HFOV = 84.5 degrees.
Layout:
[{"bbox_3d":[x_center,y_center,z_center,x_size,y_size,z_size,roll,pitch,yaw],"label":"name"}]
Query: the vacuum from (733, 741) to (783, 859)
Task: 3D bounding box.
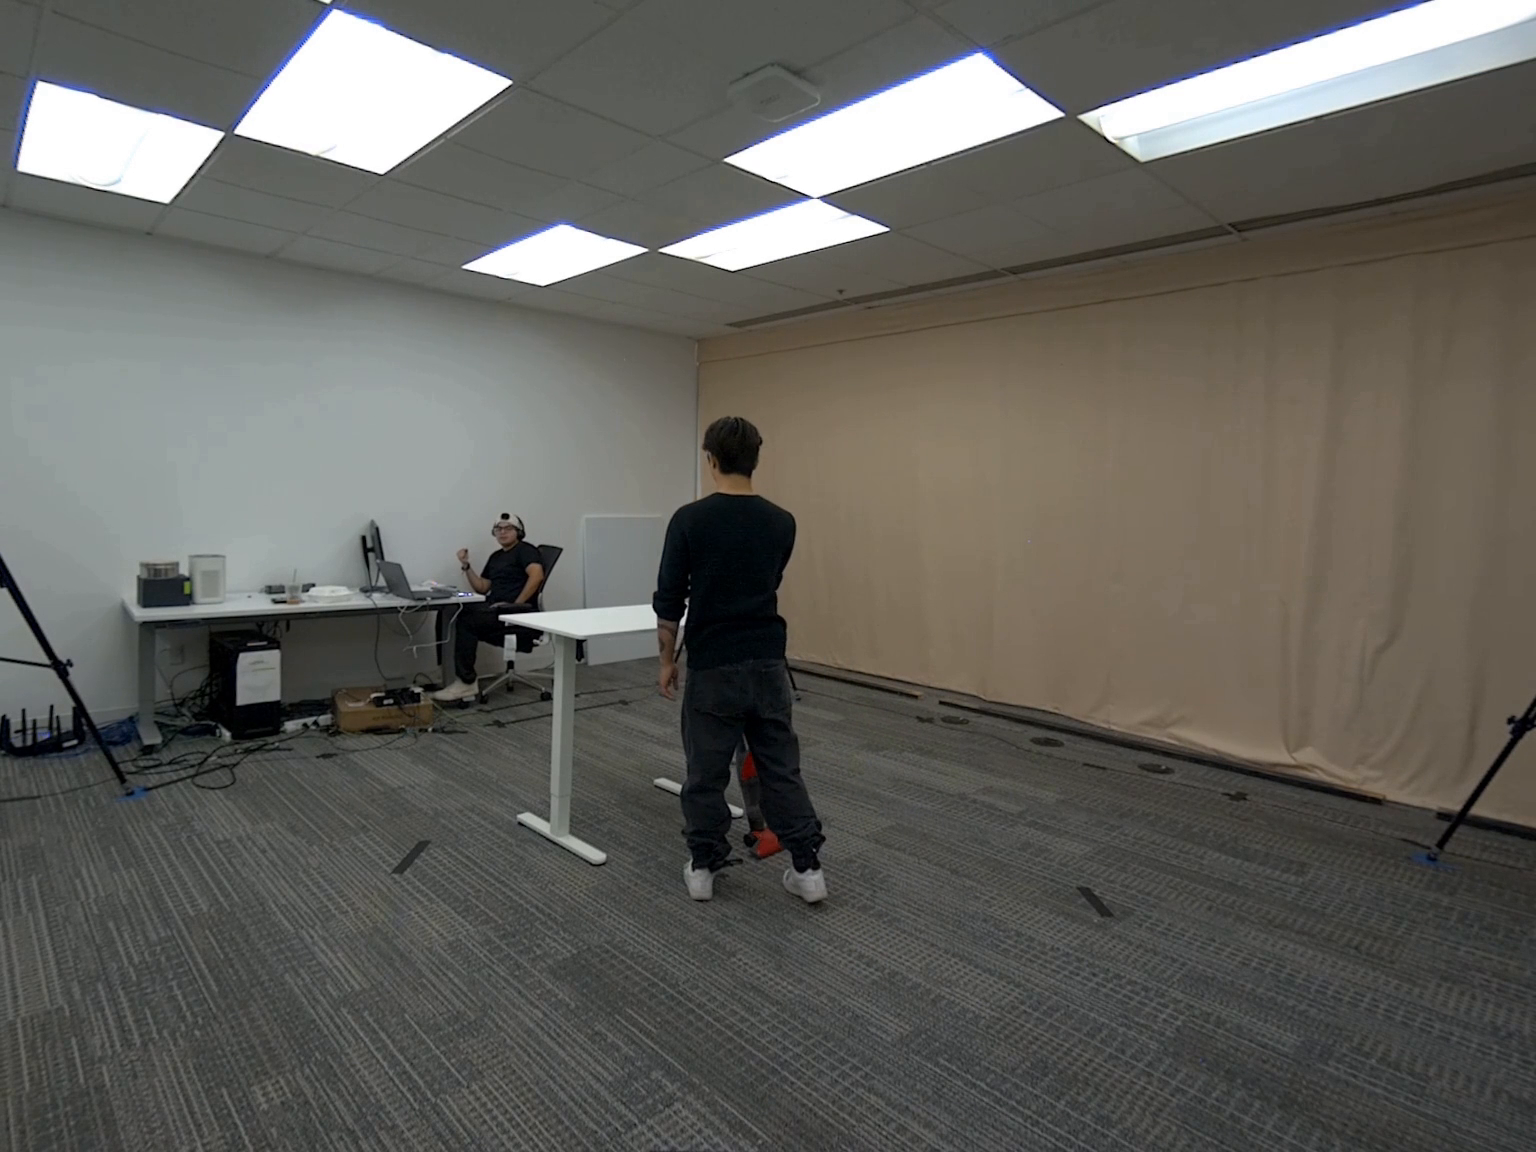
[{"bbox_3d":[-0.121,0.583,3.484,0.246,1.061,0.146,0,-18,-45],"label":"vacuum"}]
